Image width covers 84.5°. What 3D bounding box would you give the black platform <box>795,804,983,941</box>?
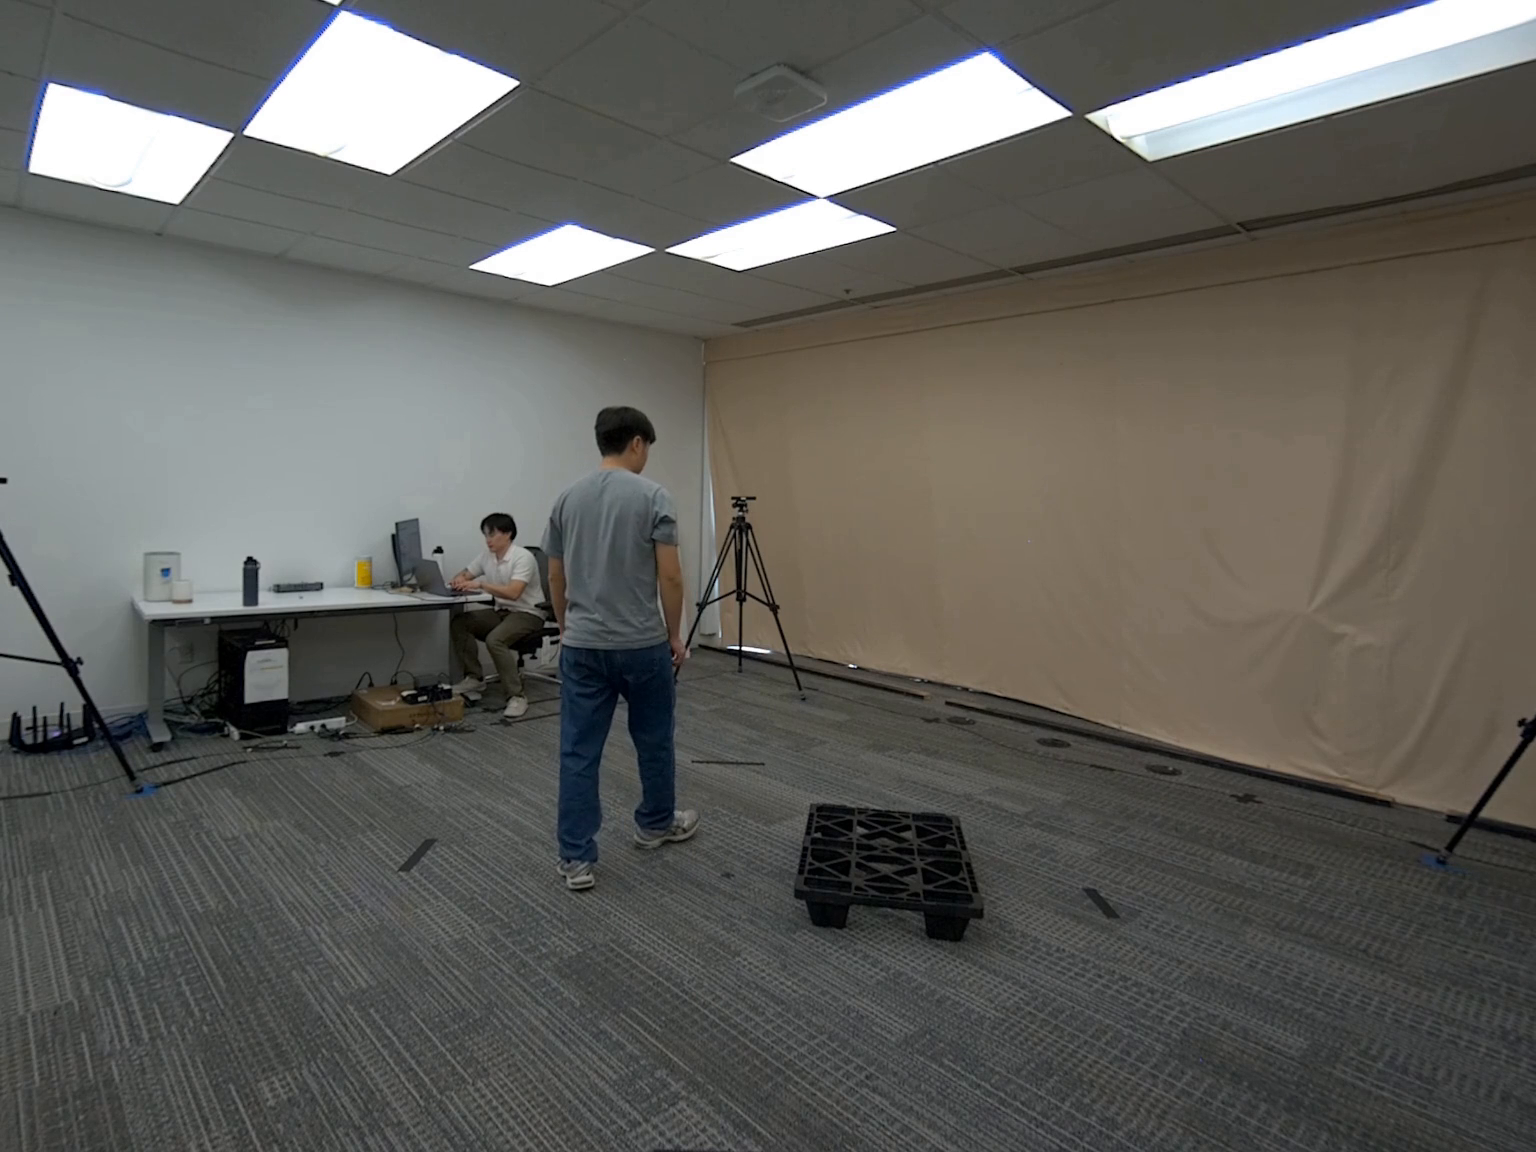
[{"bbox_3d":[0.410,1.051,3.062,0.609,0.143,0.802,2,5,8],"label":"black platform"}]
